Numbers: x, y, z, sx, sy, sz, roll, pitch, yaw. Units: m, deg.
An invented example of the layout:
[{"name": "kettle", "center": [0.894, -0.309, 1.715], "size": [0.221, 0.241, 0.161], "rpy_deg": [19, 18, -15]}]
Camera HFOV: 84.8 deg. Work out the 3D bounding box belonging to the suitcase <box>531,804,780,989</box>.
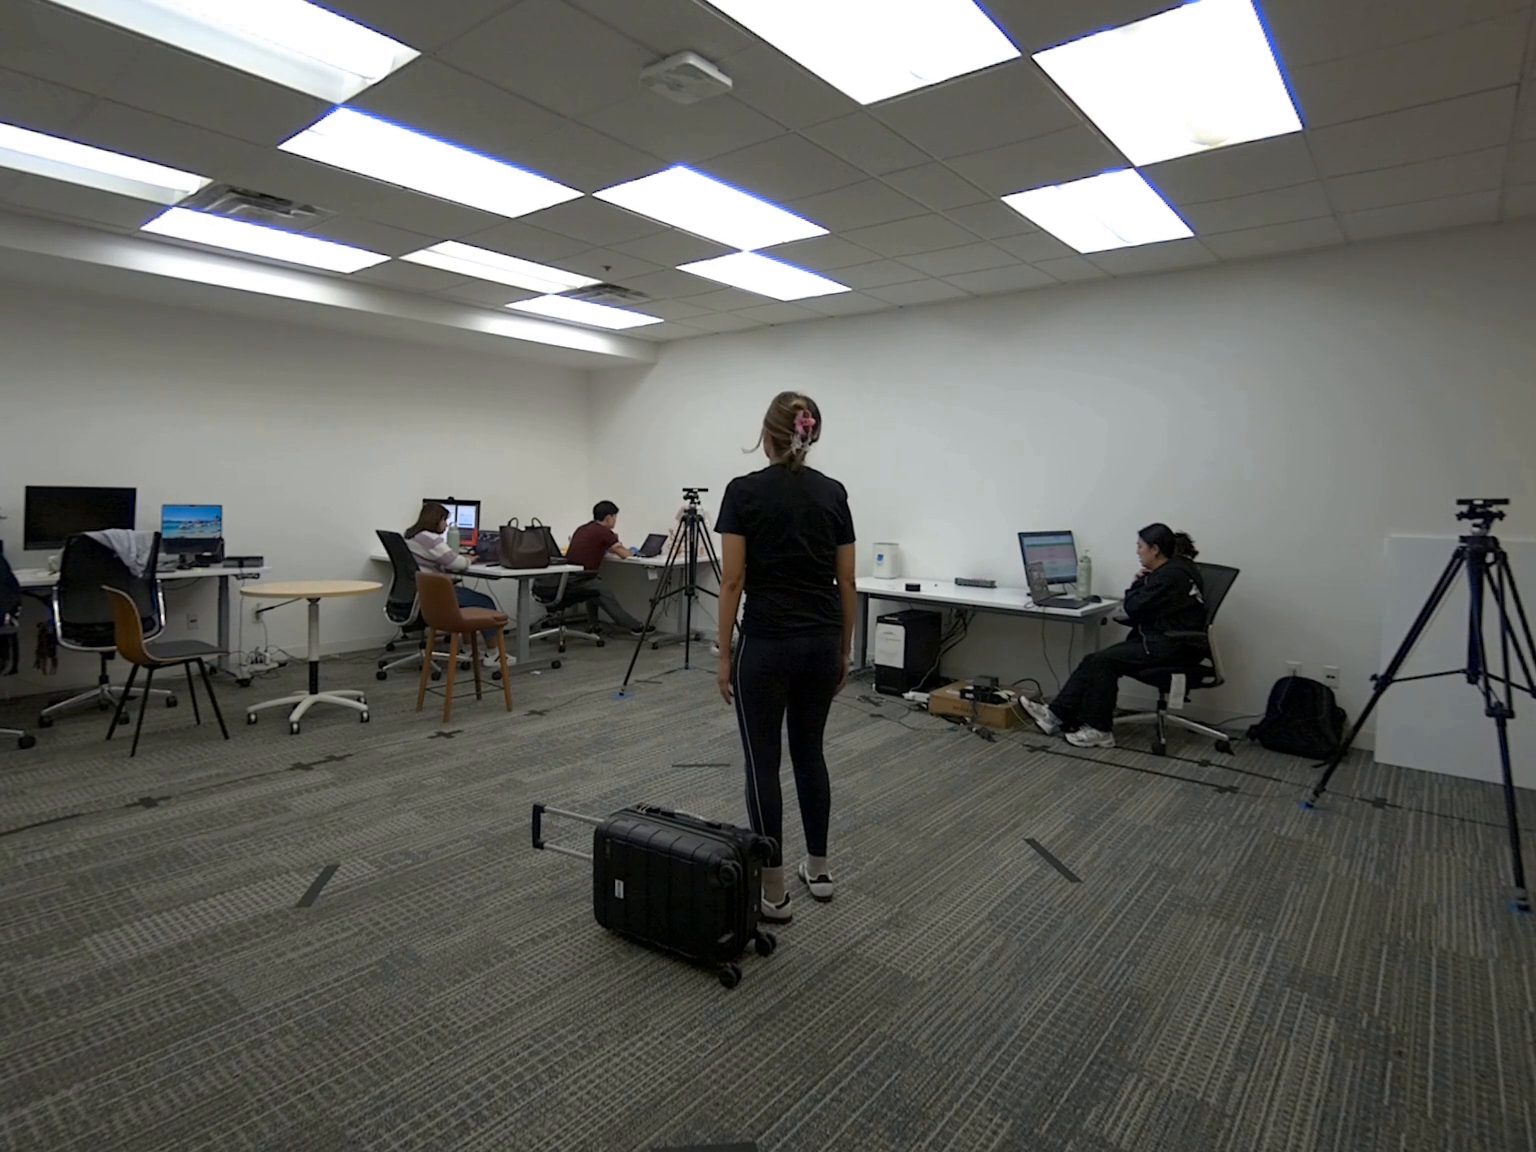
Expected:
[{"name": "suitcase", "center": [-0.464, 0.917, 2.701], "size": [1.008, 0.383, 0.250], "rpy_deg": [4, 5, 31]}]
